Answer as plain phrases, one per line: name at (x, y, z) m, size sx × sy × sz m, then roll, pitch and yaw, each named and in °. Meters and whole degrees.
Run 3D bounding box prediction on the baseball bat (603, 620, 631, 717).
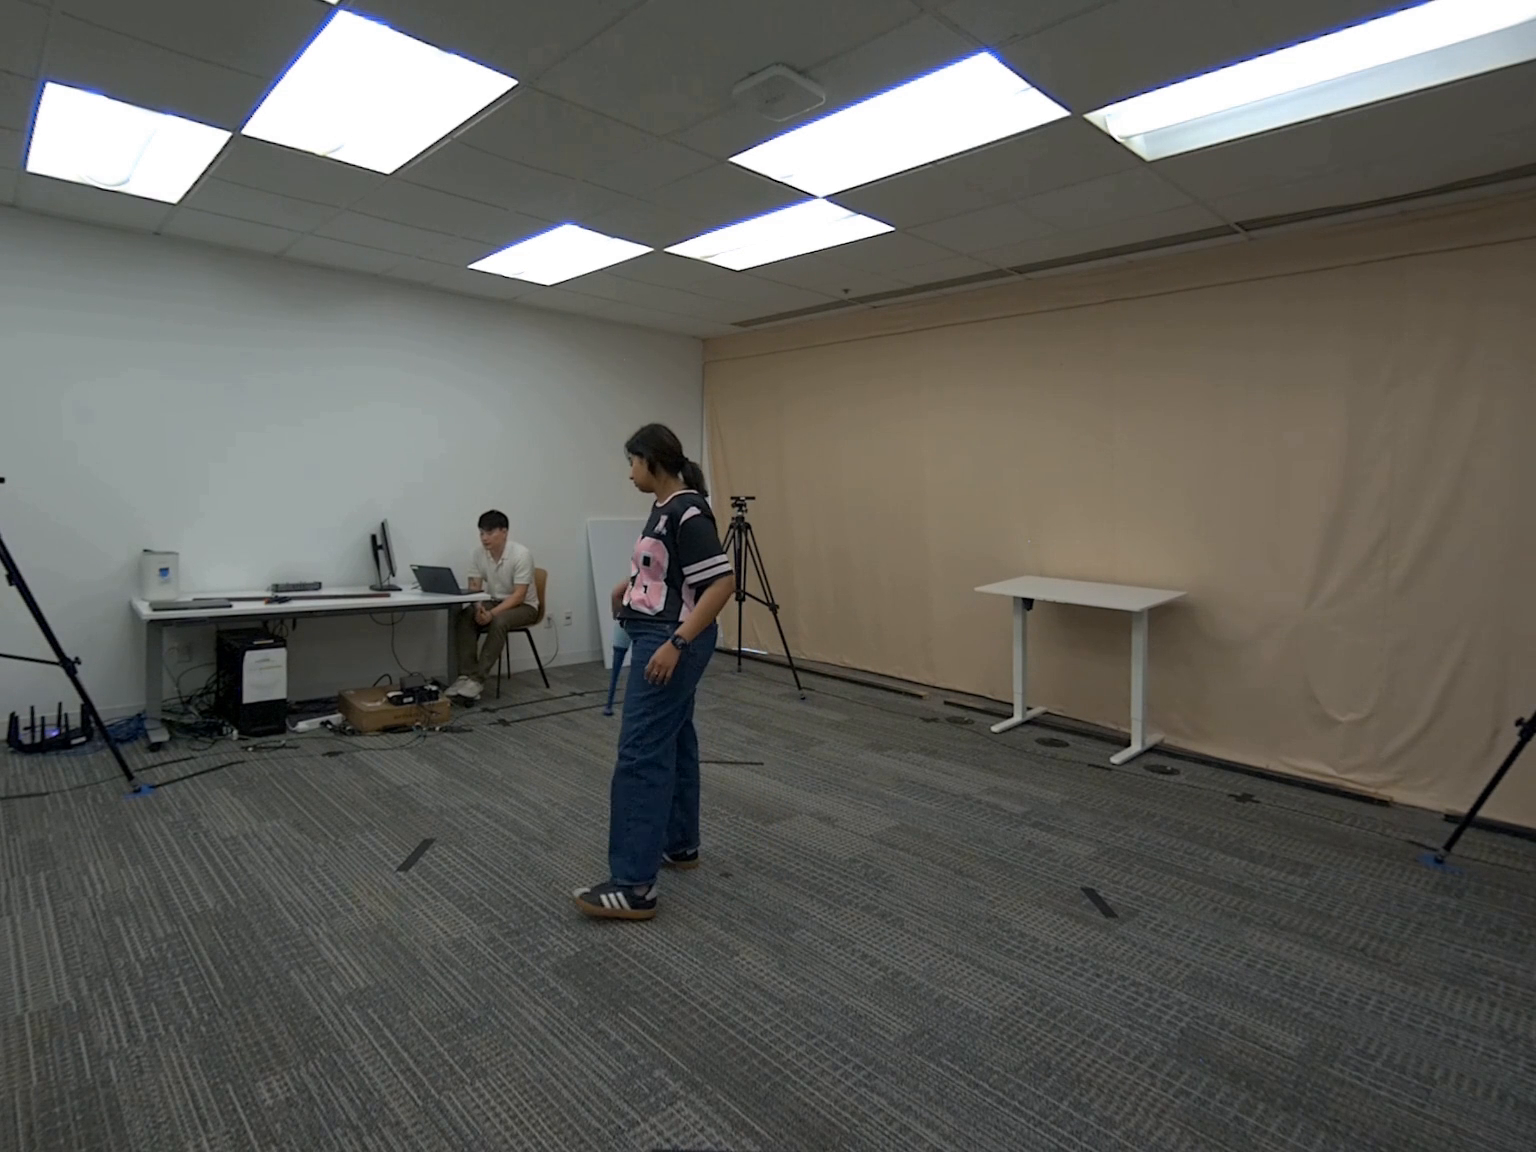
baseball bat at (-0.614, 0.319, 3.494) m, size 0.089 × 0.543 × 0.089 m, roll 12°, pitch 0°, yaw -2°
